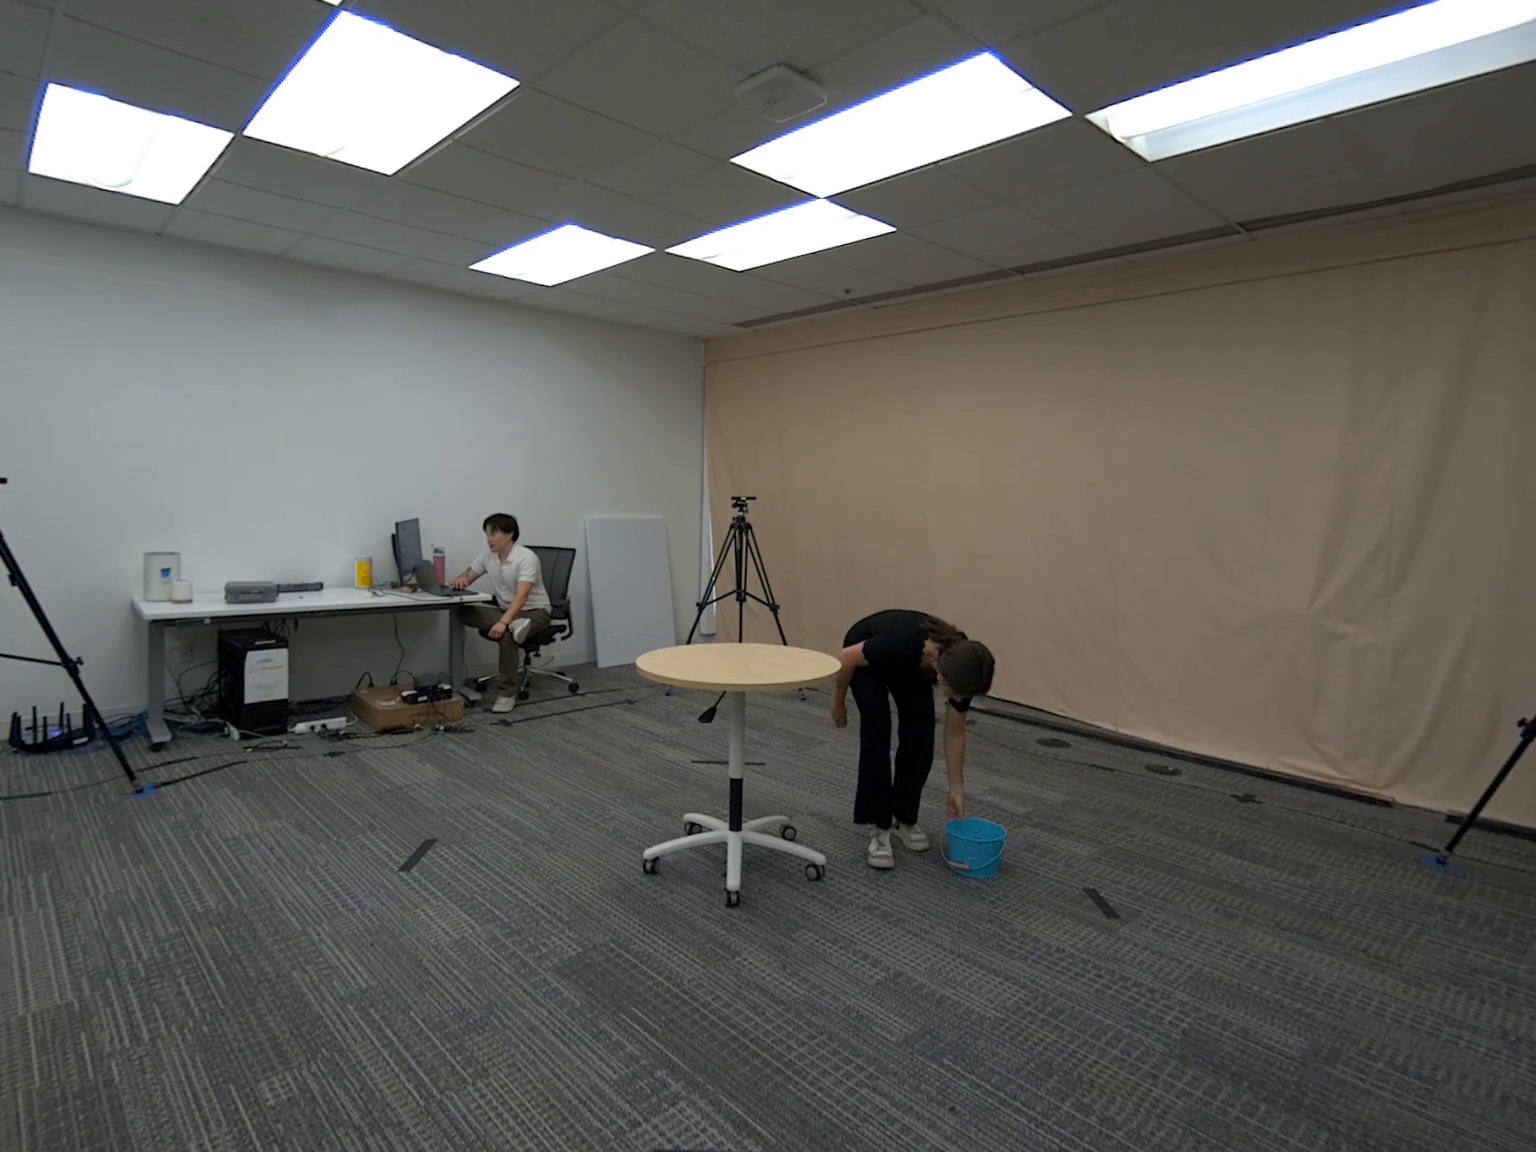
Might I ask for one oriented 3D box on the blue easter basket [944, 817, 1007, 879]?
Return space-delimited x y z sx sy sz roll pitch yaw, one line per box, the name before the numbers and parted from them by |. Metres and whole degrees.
blue easter basket | 0.769 1.037 3.234 0.243 0.155 0.244 2 4 -1
